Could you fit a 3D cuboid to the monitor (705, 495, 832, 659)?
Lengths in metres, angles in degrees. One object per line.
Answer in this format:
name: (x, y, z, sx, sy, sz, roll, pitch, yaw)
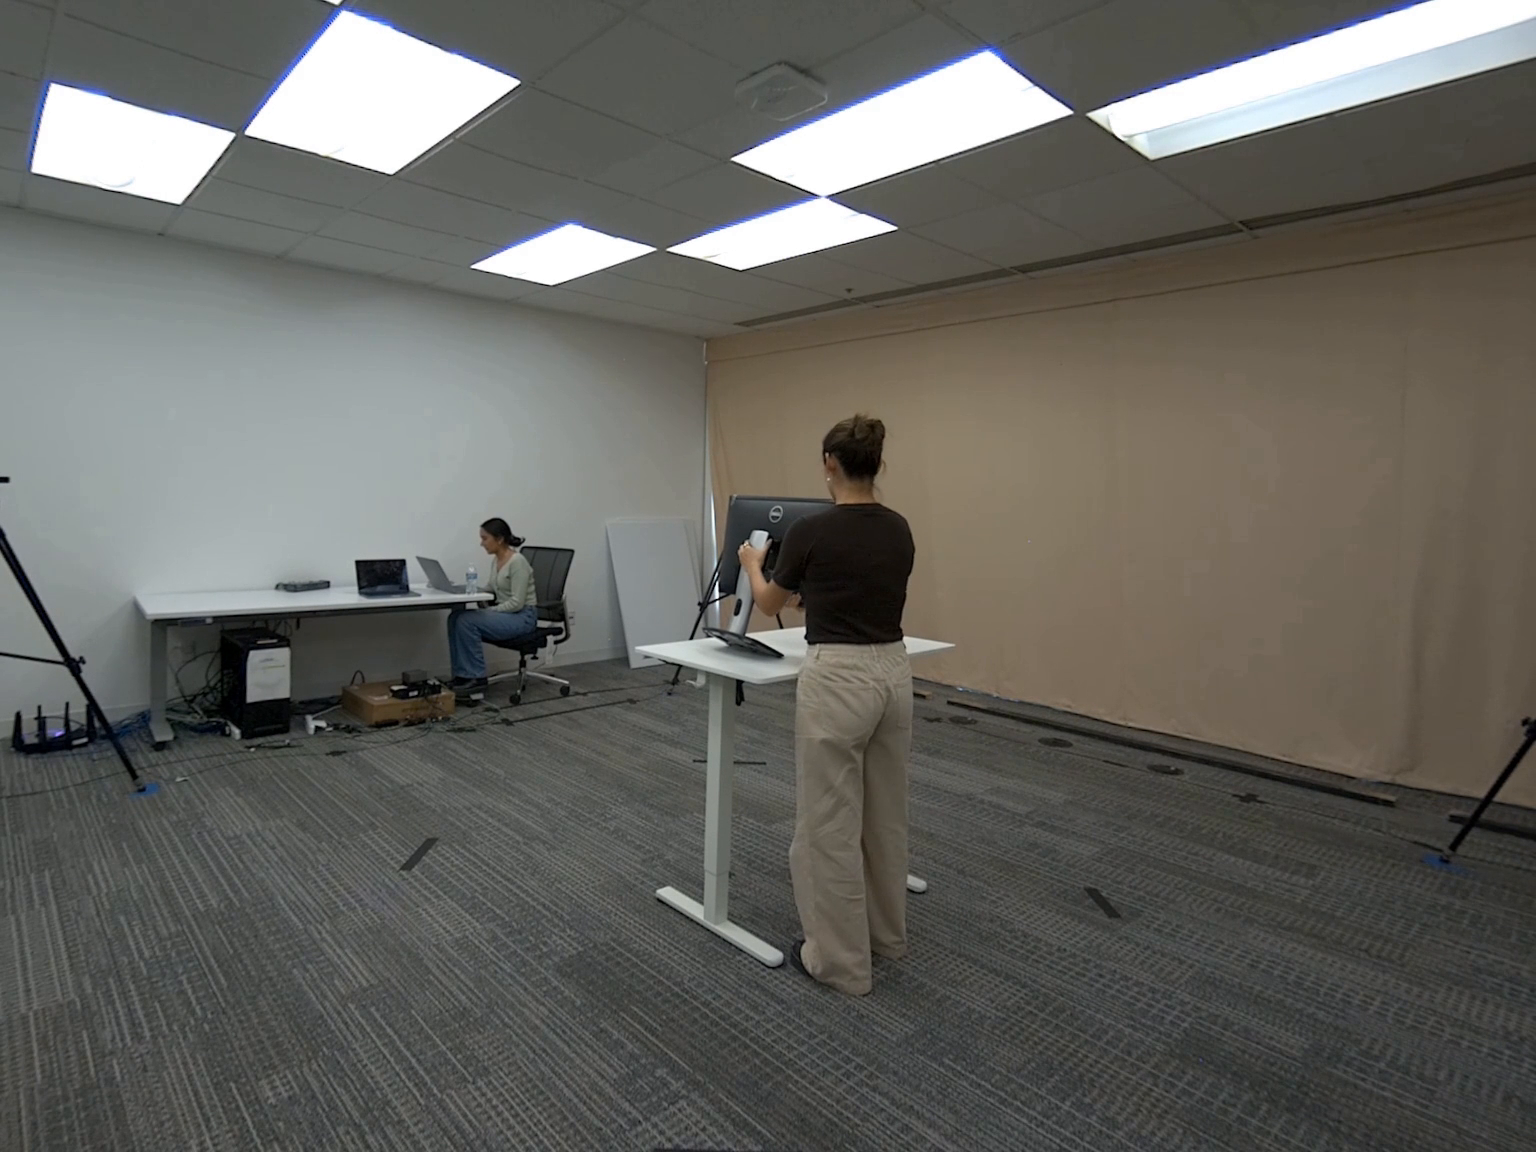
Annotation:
monitor: (-0.016, -0.013, 2.791, 0.553, 0.525, 0.181, 7, -15, 45)
